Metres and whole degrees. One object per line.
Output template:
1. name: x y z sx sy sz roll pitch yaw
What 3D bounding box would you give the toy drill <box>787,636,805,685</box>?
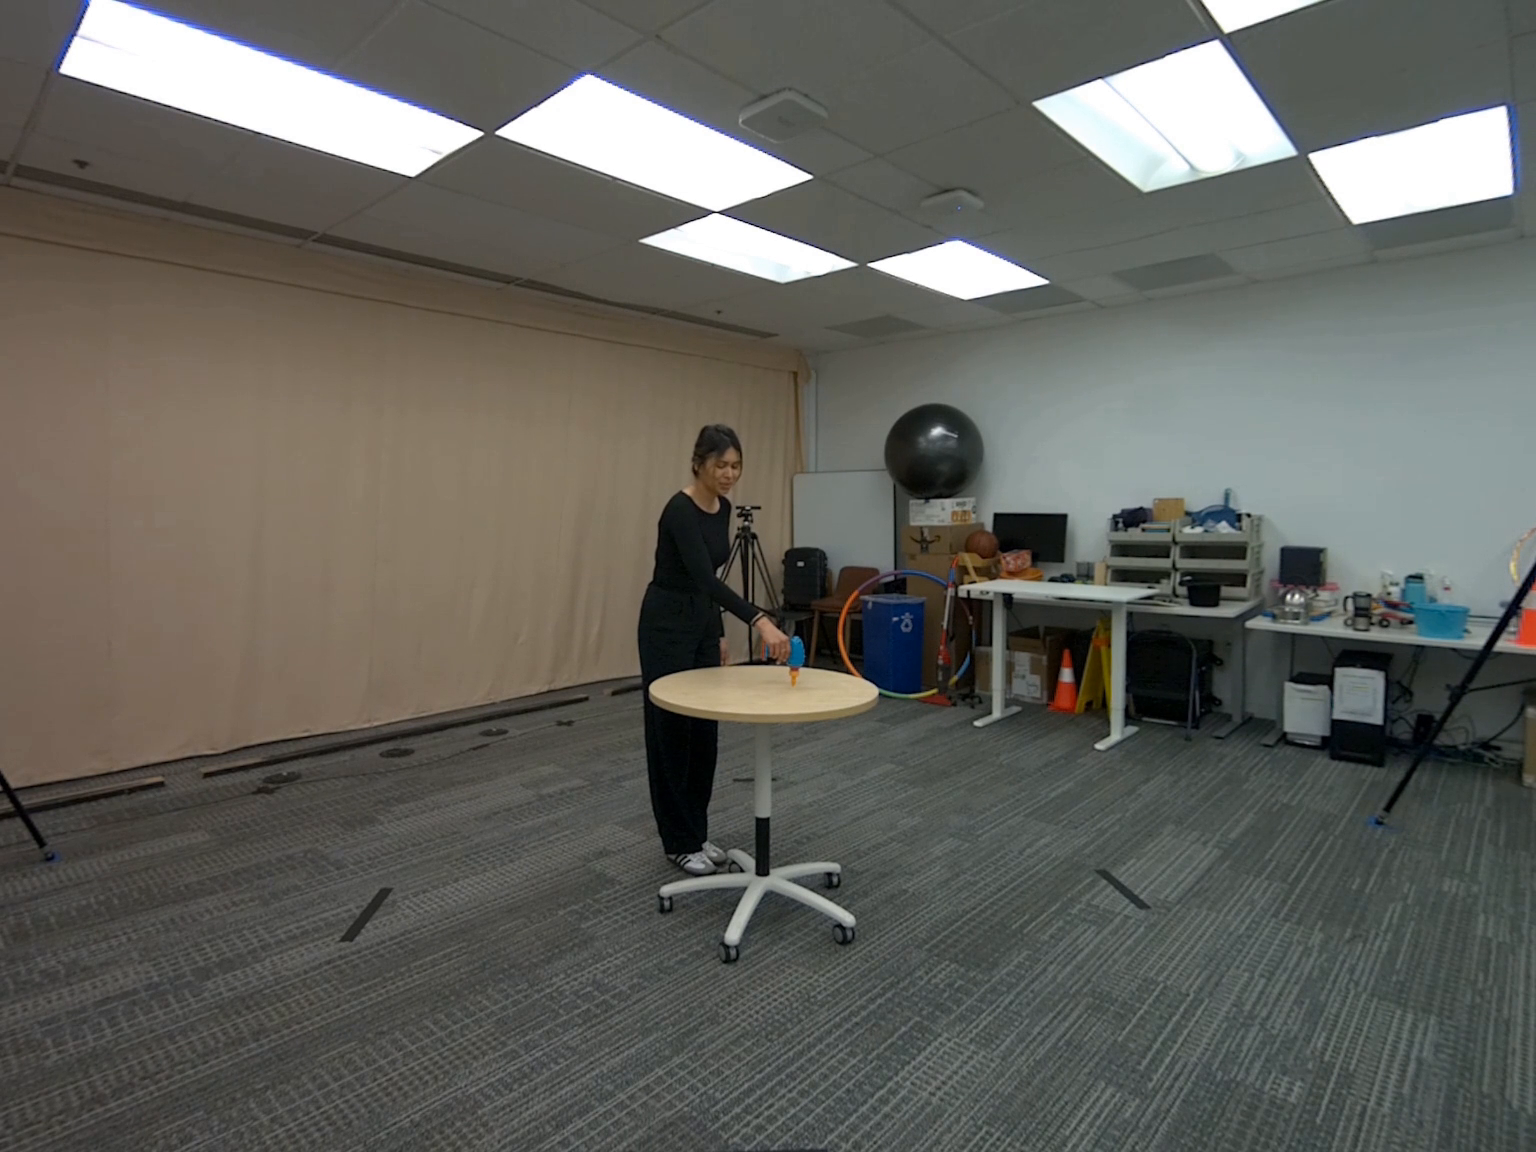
1. toy drill: 0.056 0.286 2.835 0.146 0.169 0.061 3 9 2
